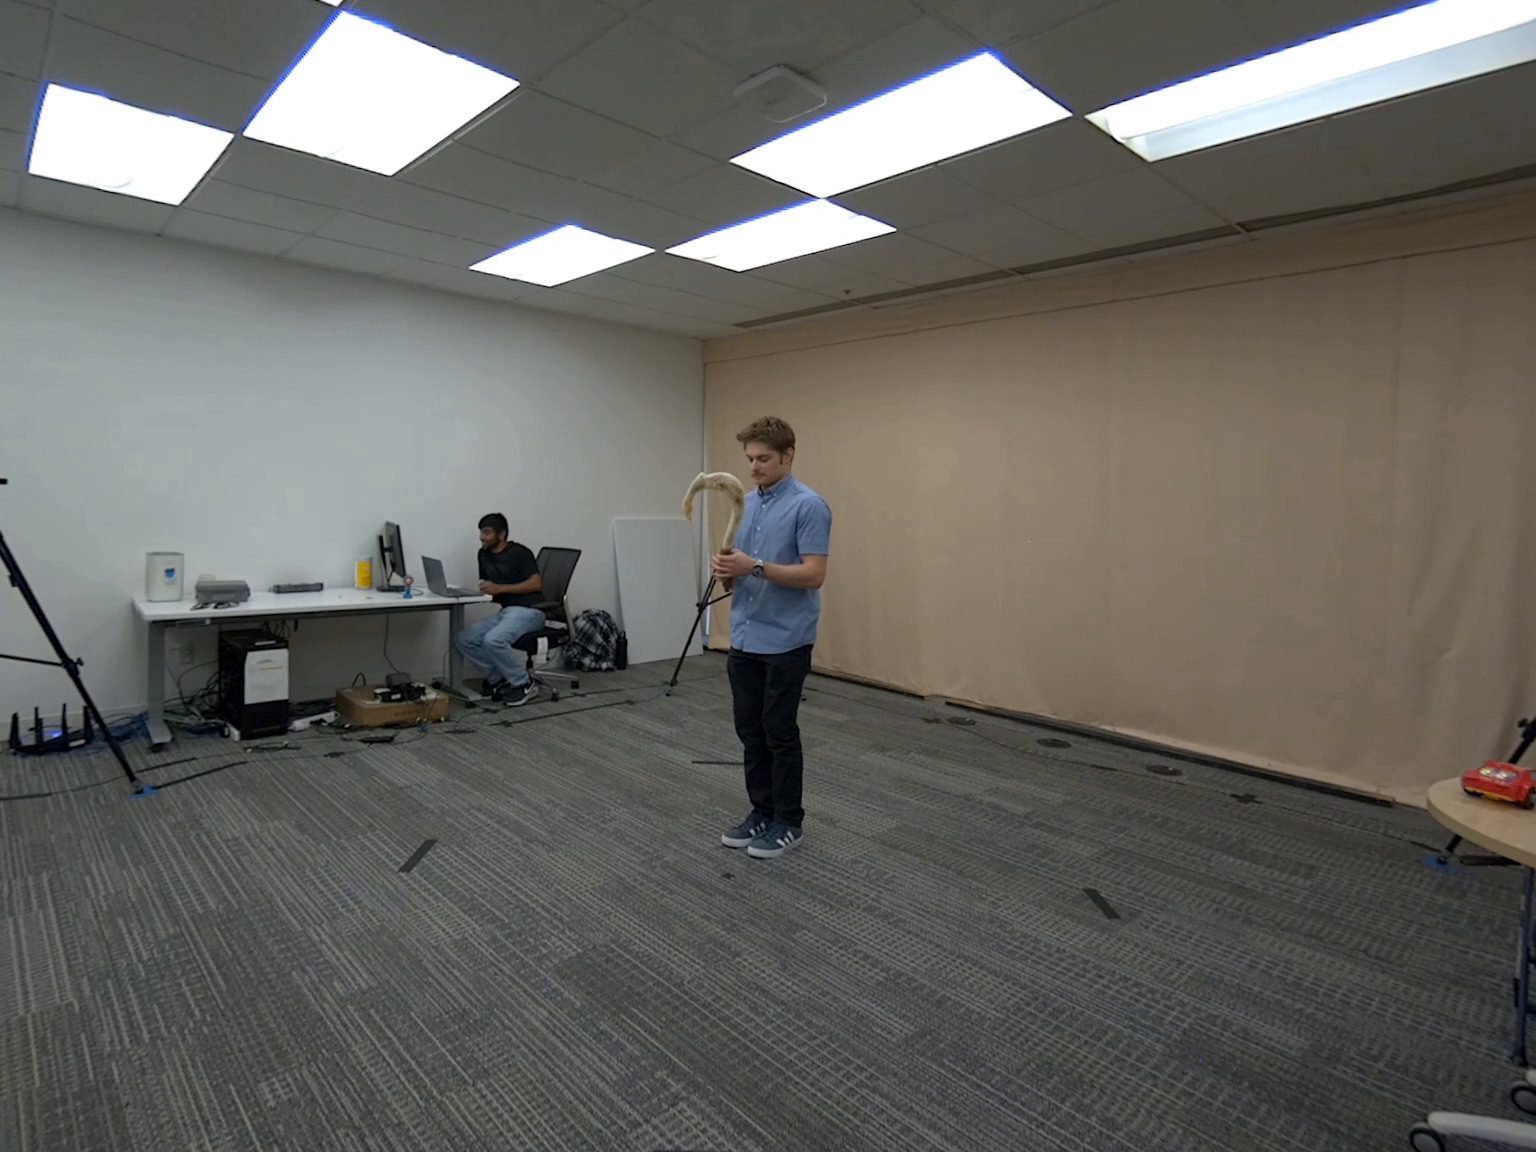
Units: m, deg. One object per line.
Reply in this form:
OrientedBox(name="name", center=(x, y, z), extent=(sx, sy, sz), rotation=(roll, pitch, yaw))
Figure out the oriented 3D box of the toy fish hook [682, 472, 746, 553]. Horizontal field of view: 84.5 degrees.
OrientedBox(name="toy fish hook", center=(-0.212, -0.149, 3.065), extent=(0.225, 0.497, 0.049), rotation=(-1, 30, 0))
